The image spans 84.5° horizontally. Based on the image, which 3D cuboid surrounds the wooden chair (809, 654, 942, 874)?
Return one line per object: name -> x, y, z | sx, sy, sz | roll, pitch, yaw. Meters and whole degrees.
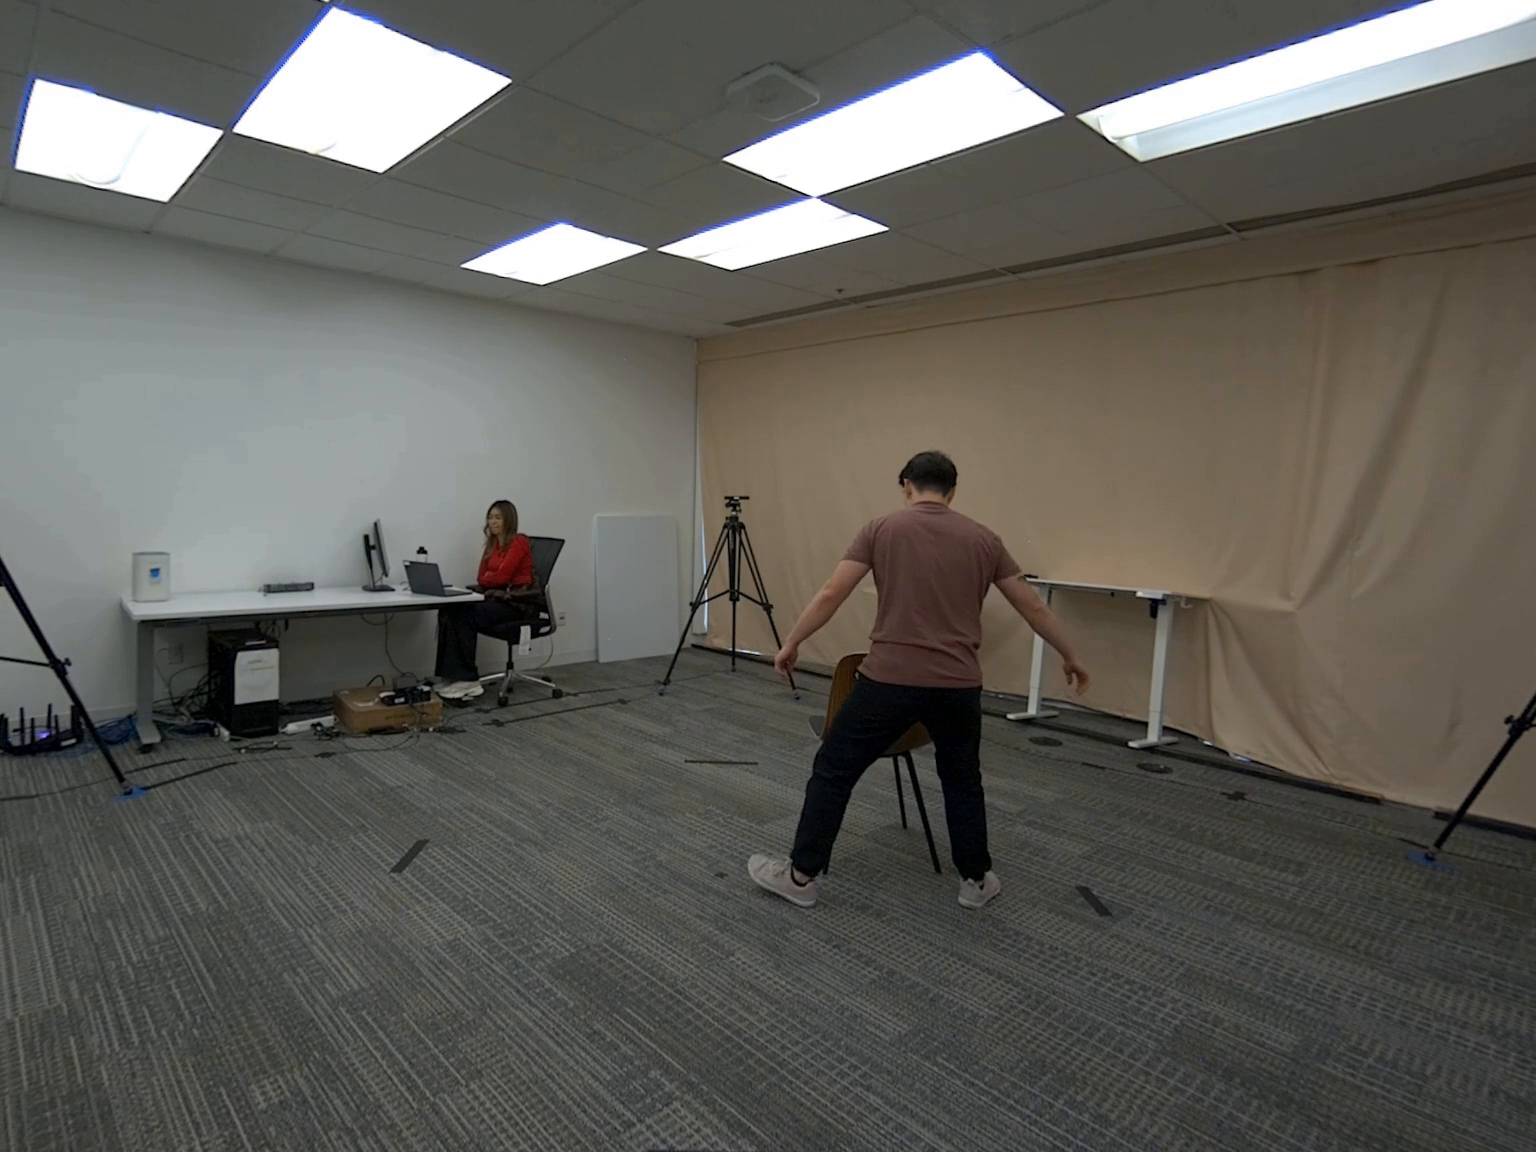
wooden chair -> 0.396, 0.668, 3.349 | 0.476, 0.872, 0.529 | 1, 8, -7
